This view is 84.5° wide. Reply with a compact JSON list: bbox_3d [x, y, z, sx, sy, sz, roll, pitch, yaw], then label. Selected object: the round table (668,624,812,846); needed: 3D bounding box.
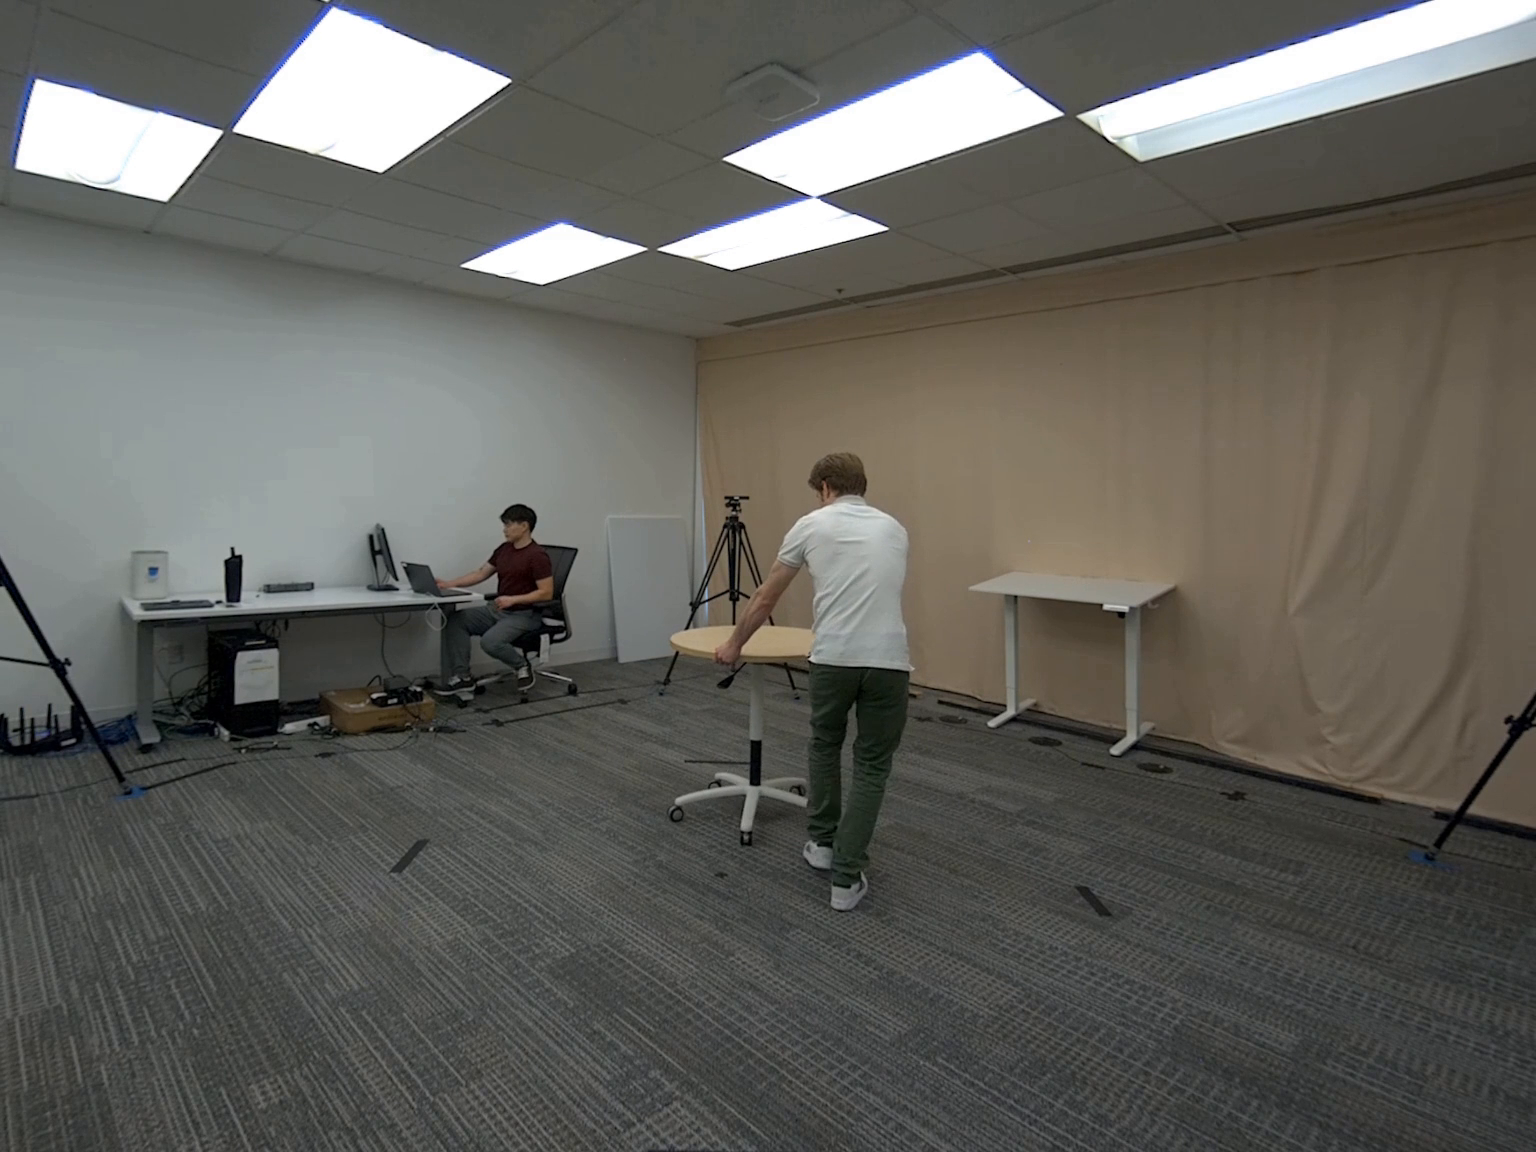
[{"bbox_3d":[-0.051,0.664,3.666,0.784,0.784,0.788,1,4,-1],"label":"round table"}]
